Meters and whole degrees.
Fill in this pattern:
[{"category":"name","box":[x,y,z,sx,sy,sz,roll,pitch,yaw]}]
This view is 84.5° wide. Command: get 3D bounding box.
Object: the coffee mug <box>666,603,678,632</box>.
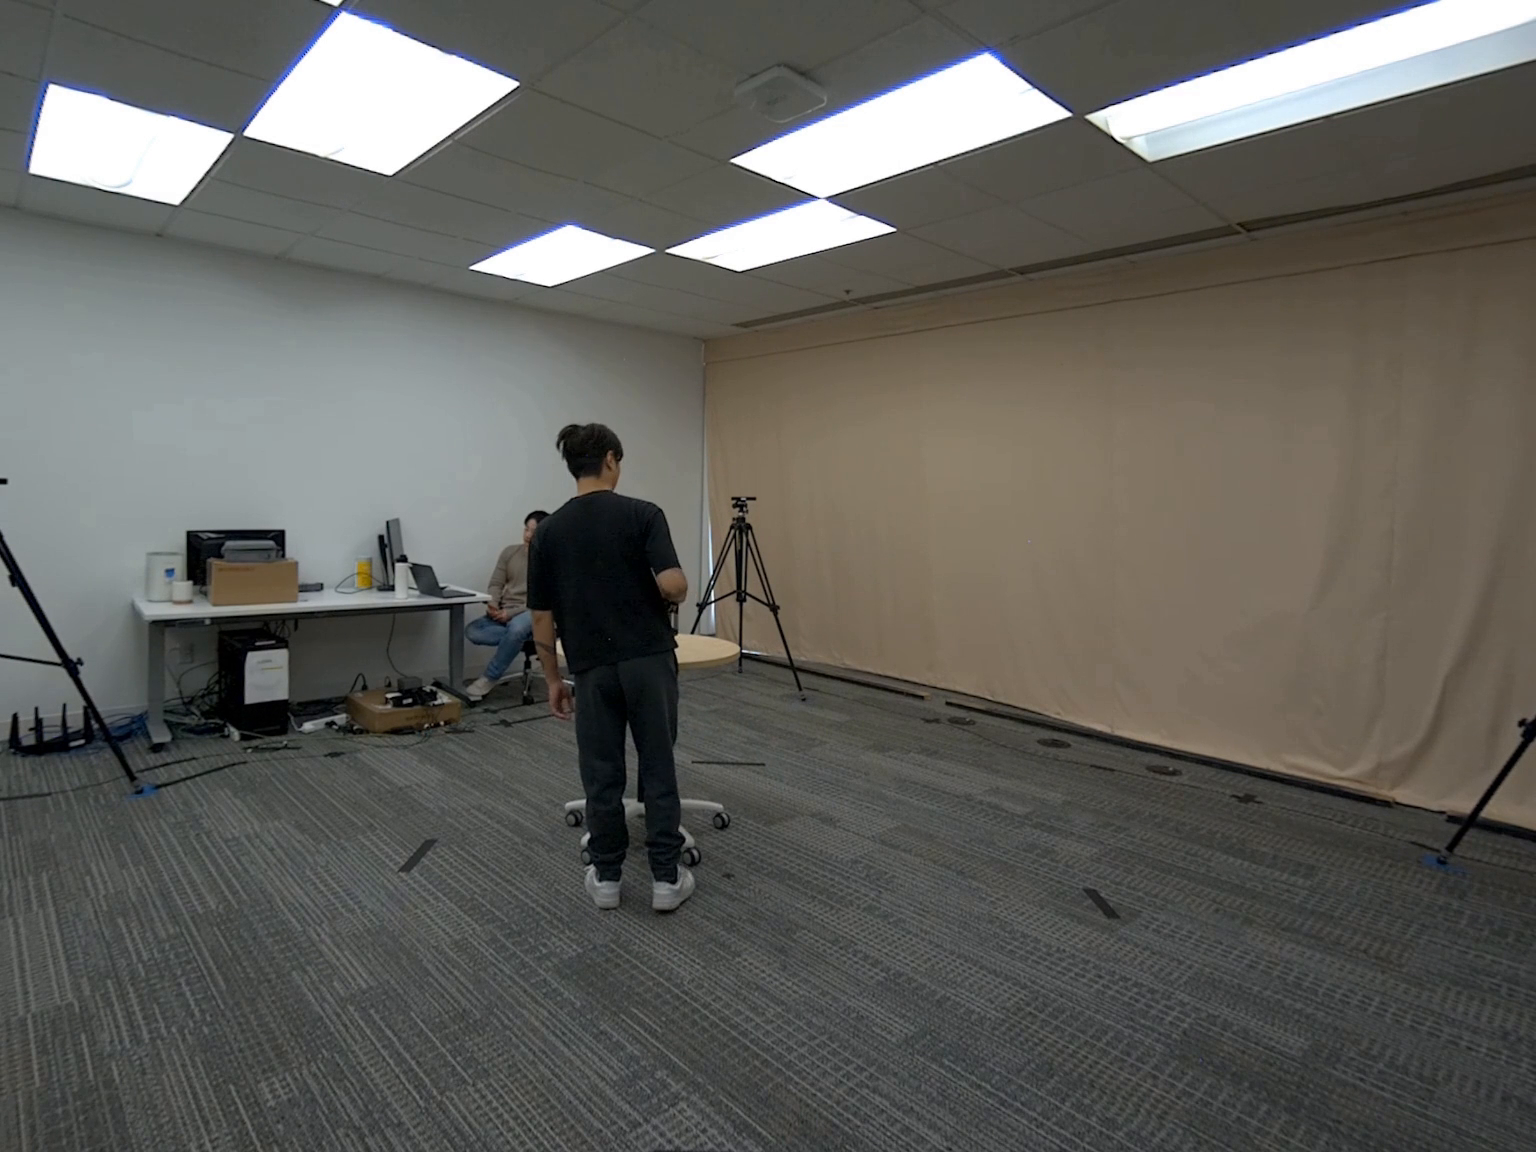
[{"category":"coffee mug","box":[-0.379,0.117,3.058,0.089,0.206,0.118,-18,-32,42]}]
